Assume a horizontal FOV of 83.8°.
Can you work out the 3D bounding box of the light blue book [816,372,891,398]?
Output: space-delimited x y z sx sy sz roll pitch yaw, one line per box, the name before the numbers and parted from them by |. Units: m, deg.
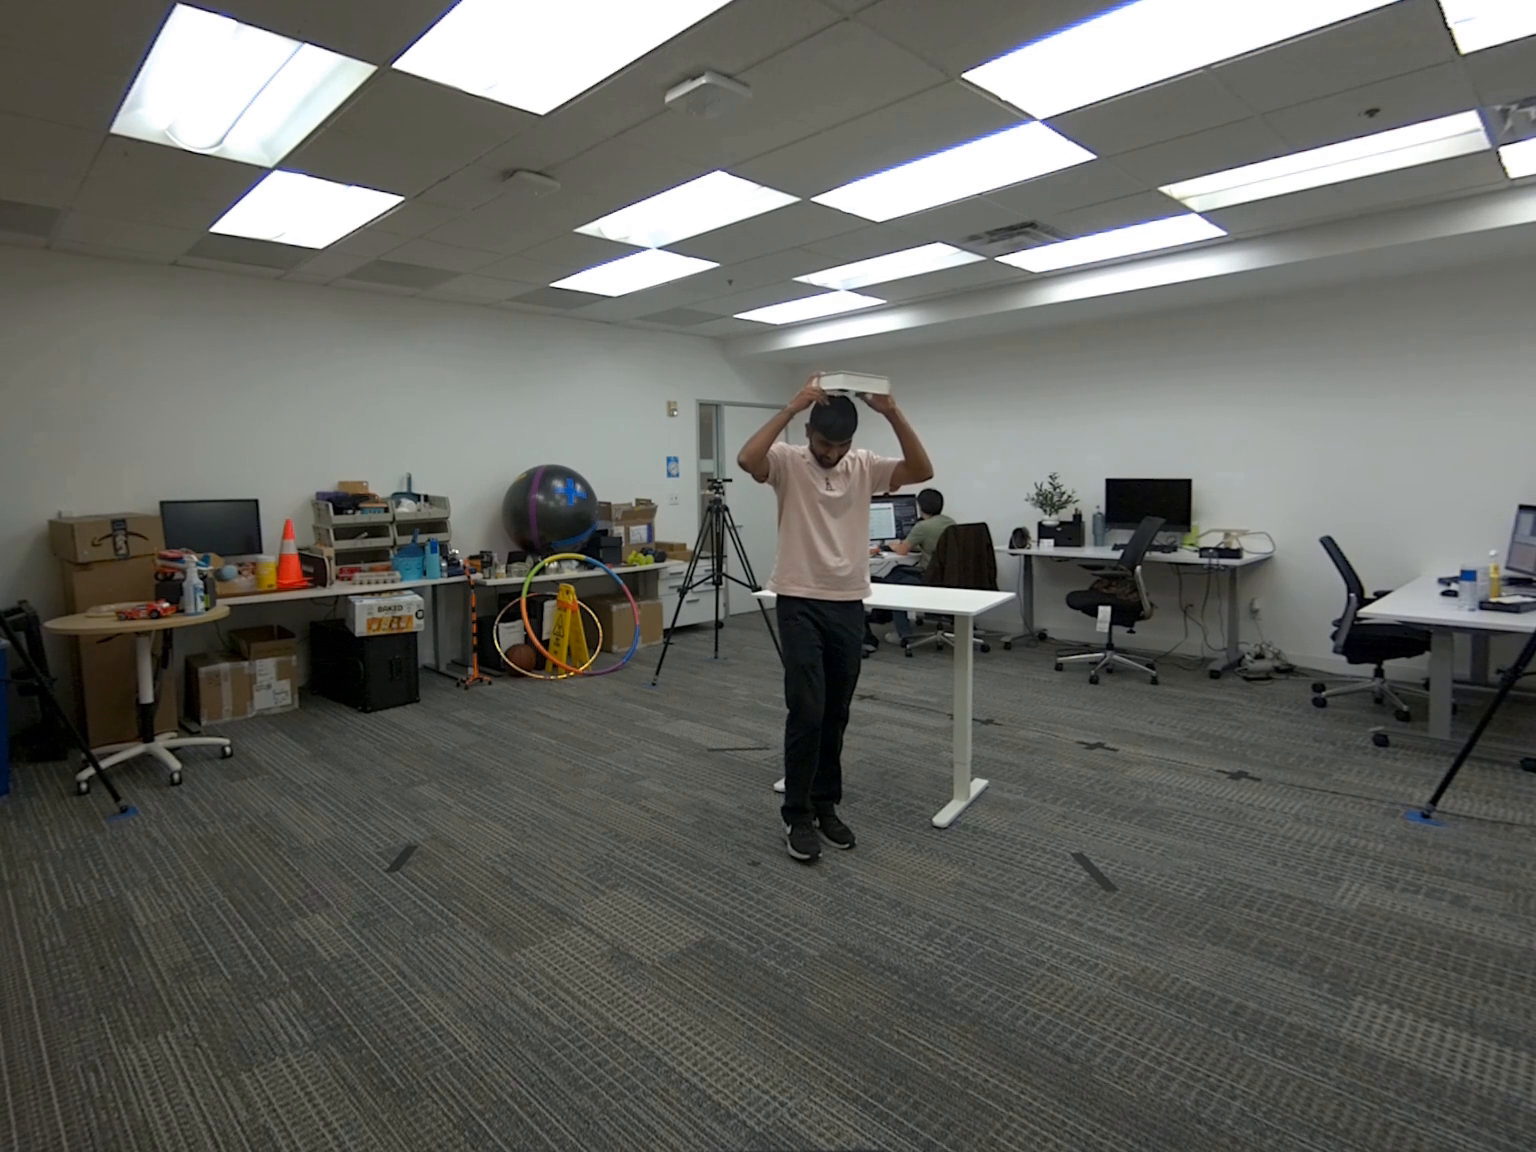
light blue book | 0.292 -0.684 3.038 0.189 0.058 0.266 3 9 -13
